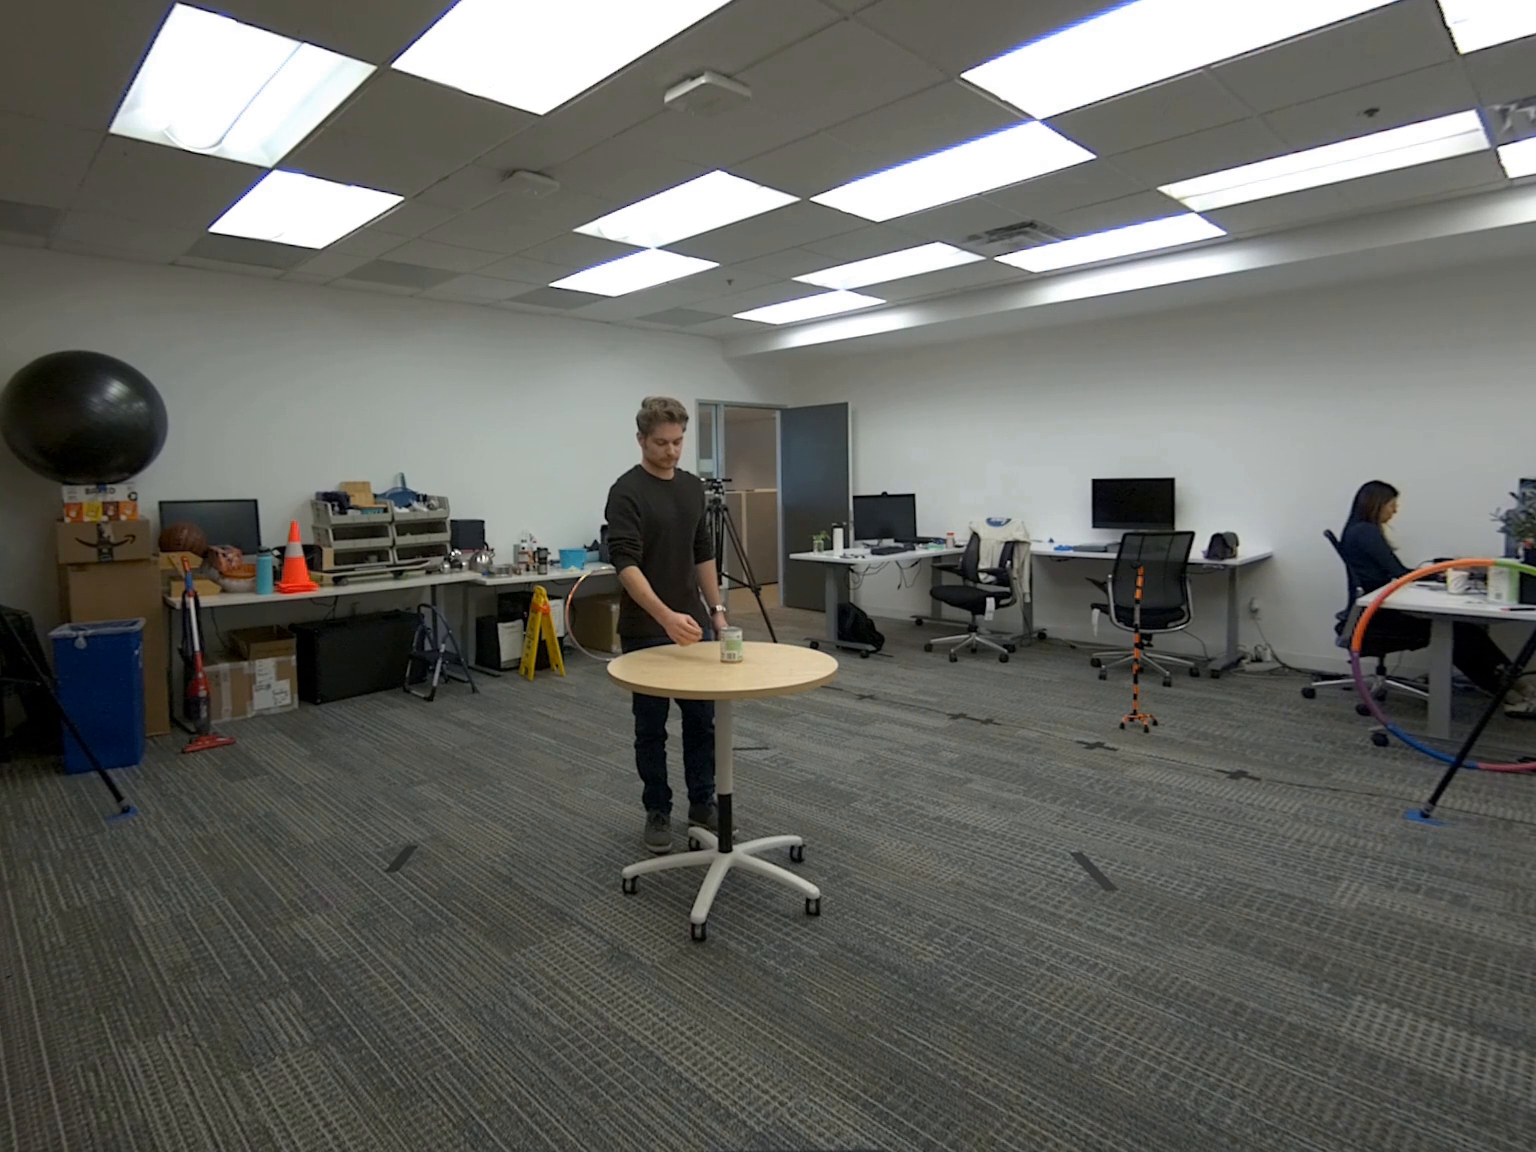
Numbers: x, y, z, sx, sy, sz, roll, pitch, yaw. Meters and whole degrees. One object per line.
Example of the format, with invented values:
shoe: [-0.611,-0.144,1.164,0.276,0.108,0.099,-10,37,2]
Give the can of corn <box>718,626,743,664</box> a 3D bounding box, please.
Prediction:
can of corn: [-0.121,0.235,2.871,0.074,0.110,0.074,-2,5,-2]
